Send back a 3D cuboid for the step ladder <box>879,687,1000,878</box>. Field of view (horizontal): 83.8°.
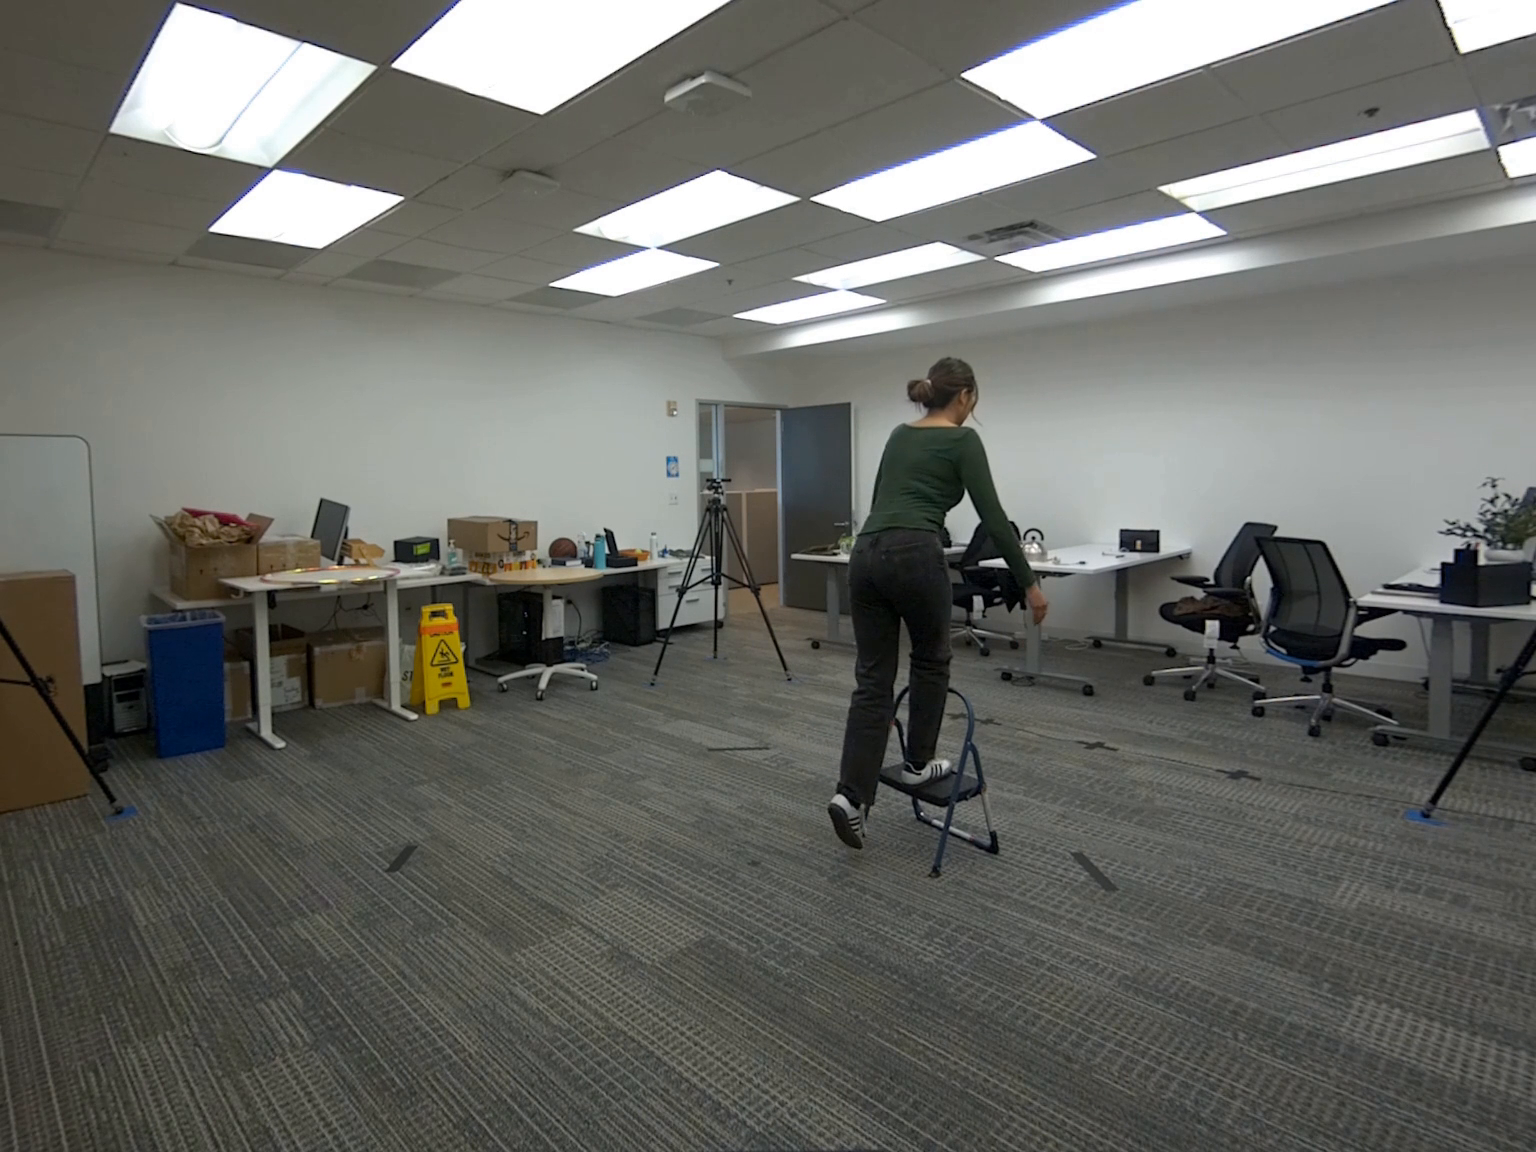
[{"bbox_3d":[0.595,0.719,3.220,0.340,0.604,0.443,-3,5,-34],"label":"step ladder"}]
